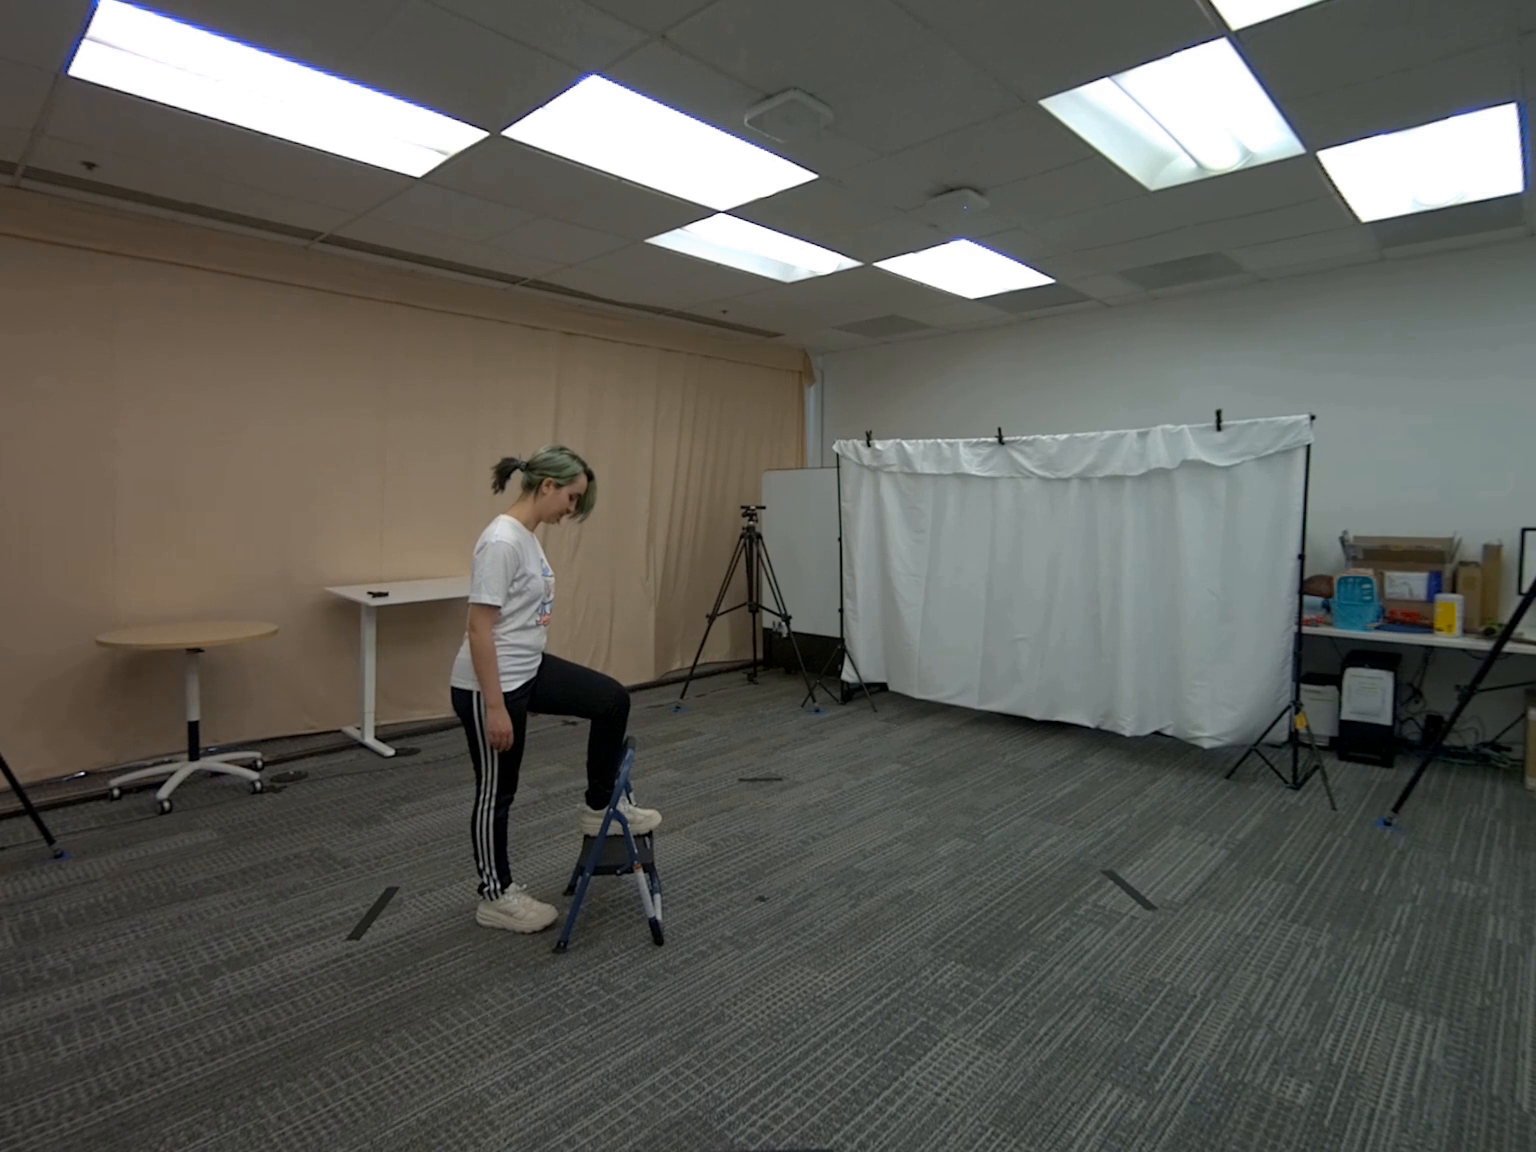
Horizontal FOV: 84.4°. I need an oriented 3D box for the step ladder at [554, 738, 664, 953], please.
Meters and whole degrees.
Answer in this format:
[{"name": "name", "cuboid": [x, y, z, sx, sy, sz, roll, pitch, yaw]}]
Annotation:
[{"name": "step ladder", "cuboid": [-0.532, 0.866, 2.833, 0.346, 0.605, 0.435, -1, 4, -9]}]
